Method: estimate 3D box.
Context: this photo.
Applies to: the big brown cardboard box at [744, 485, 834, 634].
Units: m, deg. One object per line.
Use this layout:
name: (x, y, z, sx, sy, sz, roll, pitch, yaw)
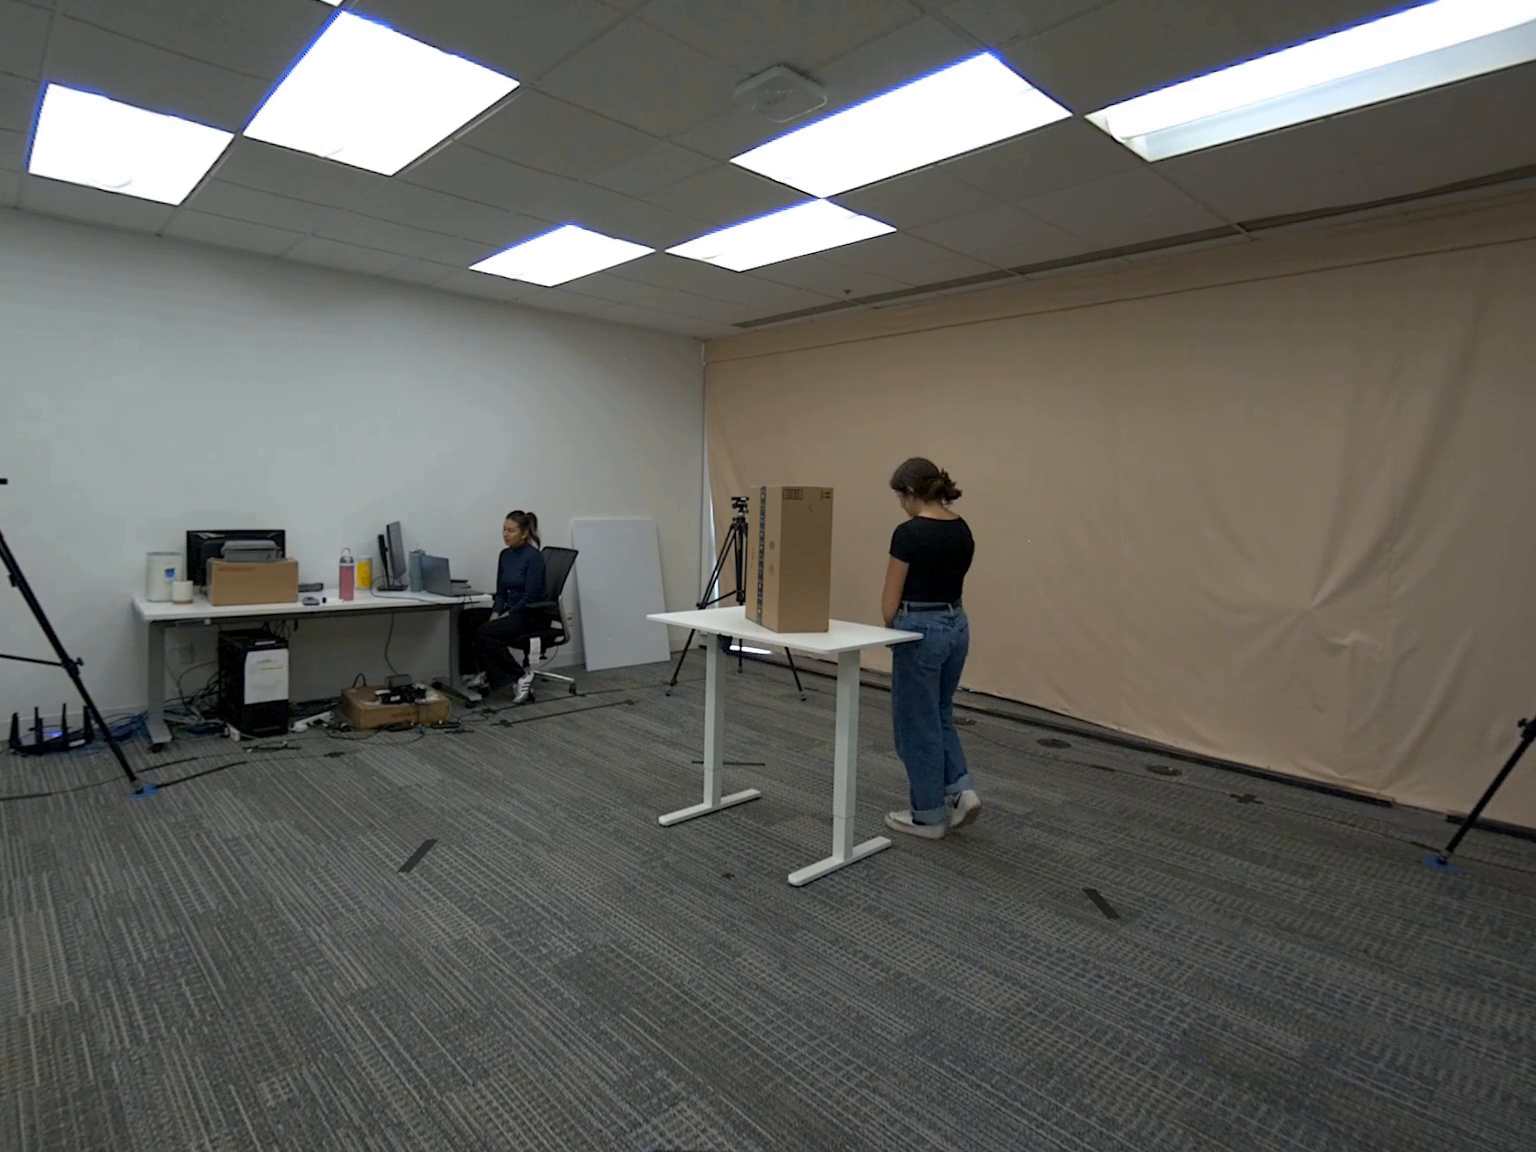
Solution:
big brown cardboard box: (0.074, -0.076, 3.422, 0.230, 0.587, 0.424, 0, 5, -18)
